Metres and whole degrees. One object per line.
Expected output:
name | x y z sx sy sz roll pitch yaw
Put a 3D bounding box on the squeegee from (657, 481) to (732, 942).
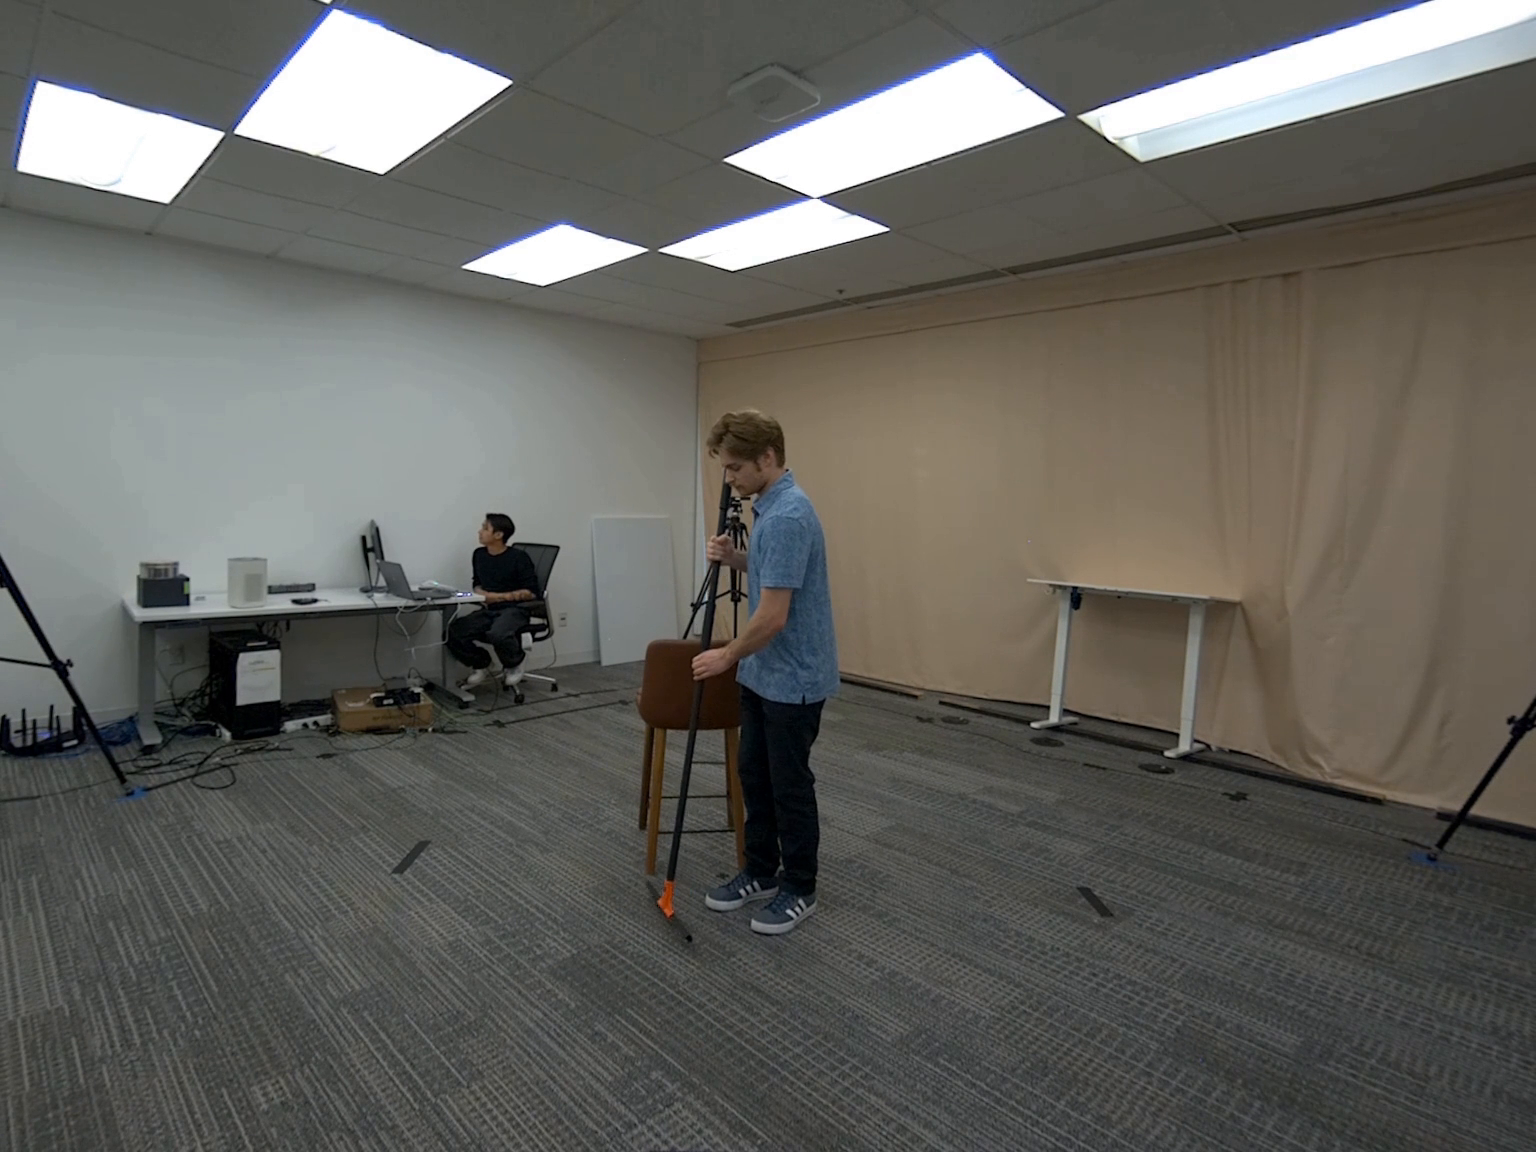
squeegee | -0.252 0.357 2.735 0.052 1.536 0.446 5 2 -25
